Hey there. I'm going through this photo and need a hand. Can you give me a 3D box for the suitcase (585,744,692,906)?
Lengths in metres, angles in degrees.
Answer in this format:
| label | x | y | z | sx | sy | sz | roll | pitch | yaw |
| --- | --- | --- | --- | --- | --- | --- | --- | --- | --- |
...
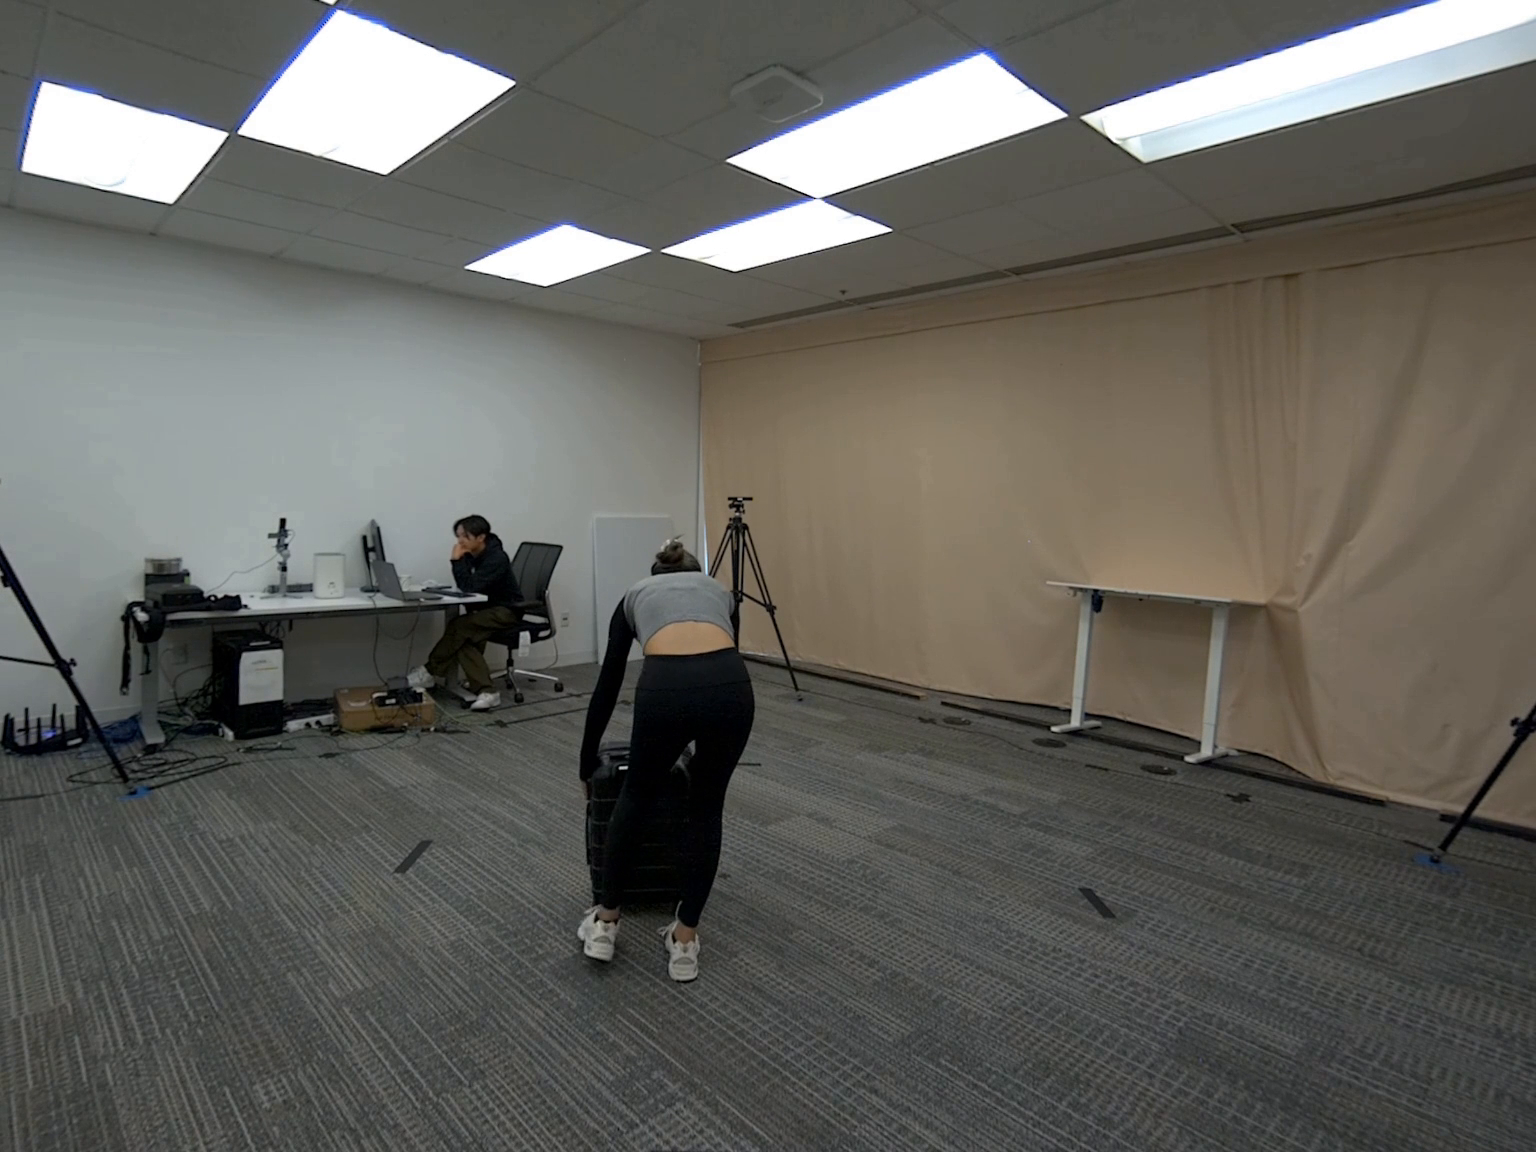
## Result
| label | x | y | z | sx | sy | sz | roll | pitch | yaw |
| --- | --- | --- | --- | --- | --- | --- | --- | --- | --- |
| suitcase | -0.436 | 0.839 | 2.851 | 0.373 | 0.545 | 0.251 | 1 | 11 | -6 |
